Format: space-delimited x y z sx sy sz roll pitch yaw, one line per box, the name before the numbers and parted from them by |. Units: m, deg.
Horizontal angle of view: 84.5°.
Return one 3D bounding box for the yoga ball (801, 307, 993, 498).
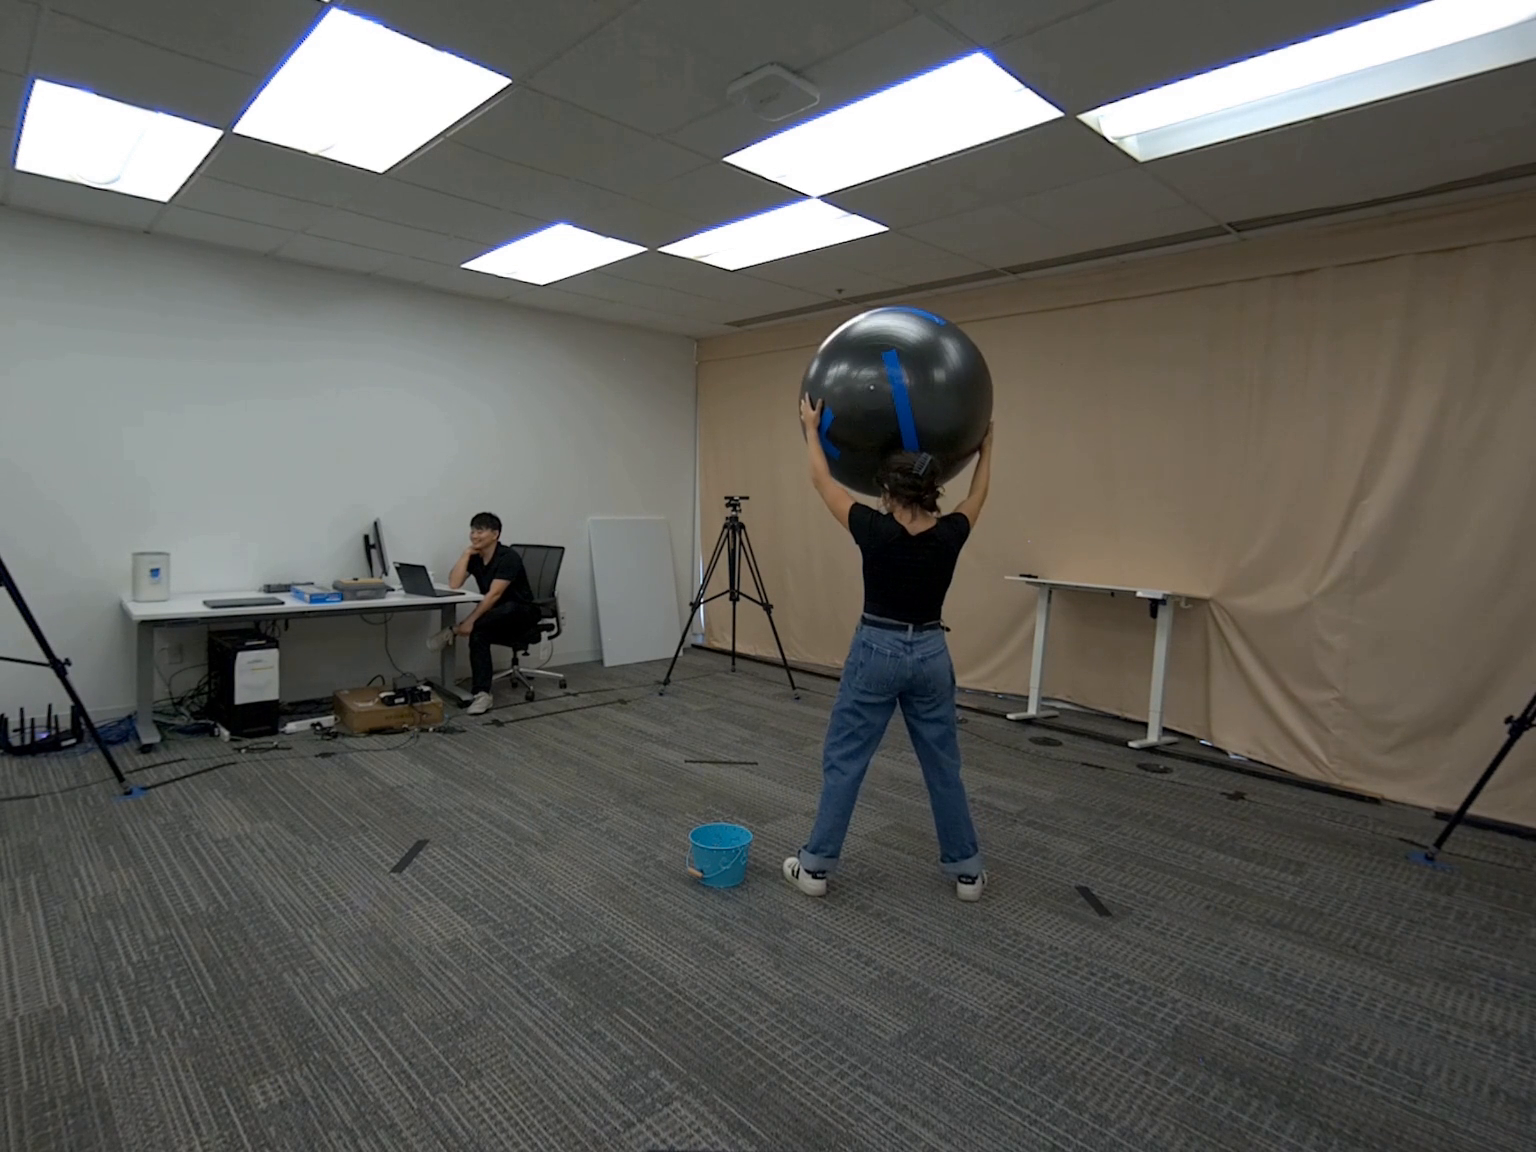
yoga ball | 0.497 -0.665 3.390 0.757 0.756 0.760 1 4 -1
